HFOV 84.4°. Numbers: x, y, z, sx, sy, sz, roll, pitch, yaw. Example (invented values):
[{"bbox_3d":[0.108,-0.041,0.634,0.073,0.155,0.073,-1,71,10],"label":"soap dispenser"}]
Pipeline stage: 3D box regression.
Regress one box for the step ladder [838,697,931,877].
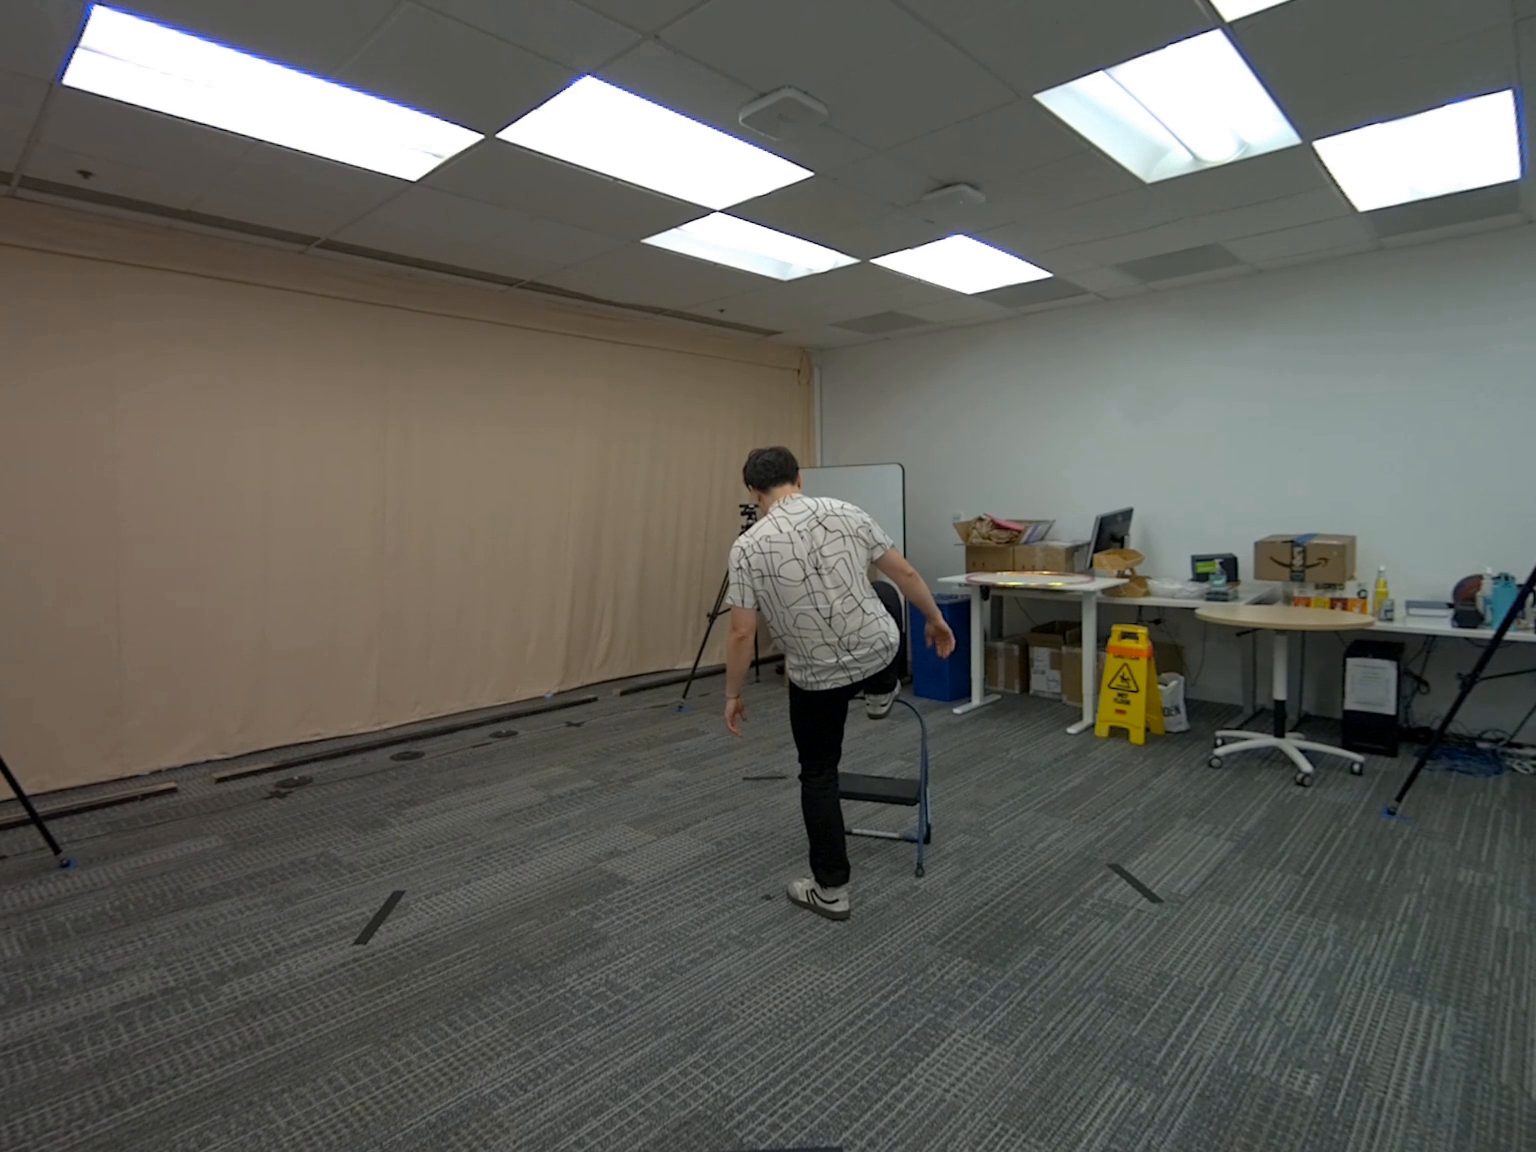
[{"bbox_3d":[0.430,0.786,3.357,0.439,0.606,0.342,1,0,18],"label":"step ladder"}]
